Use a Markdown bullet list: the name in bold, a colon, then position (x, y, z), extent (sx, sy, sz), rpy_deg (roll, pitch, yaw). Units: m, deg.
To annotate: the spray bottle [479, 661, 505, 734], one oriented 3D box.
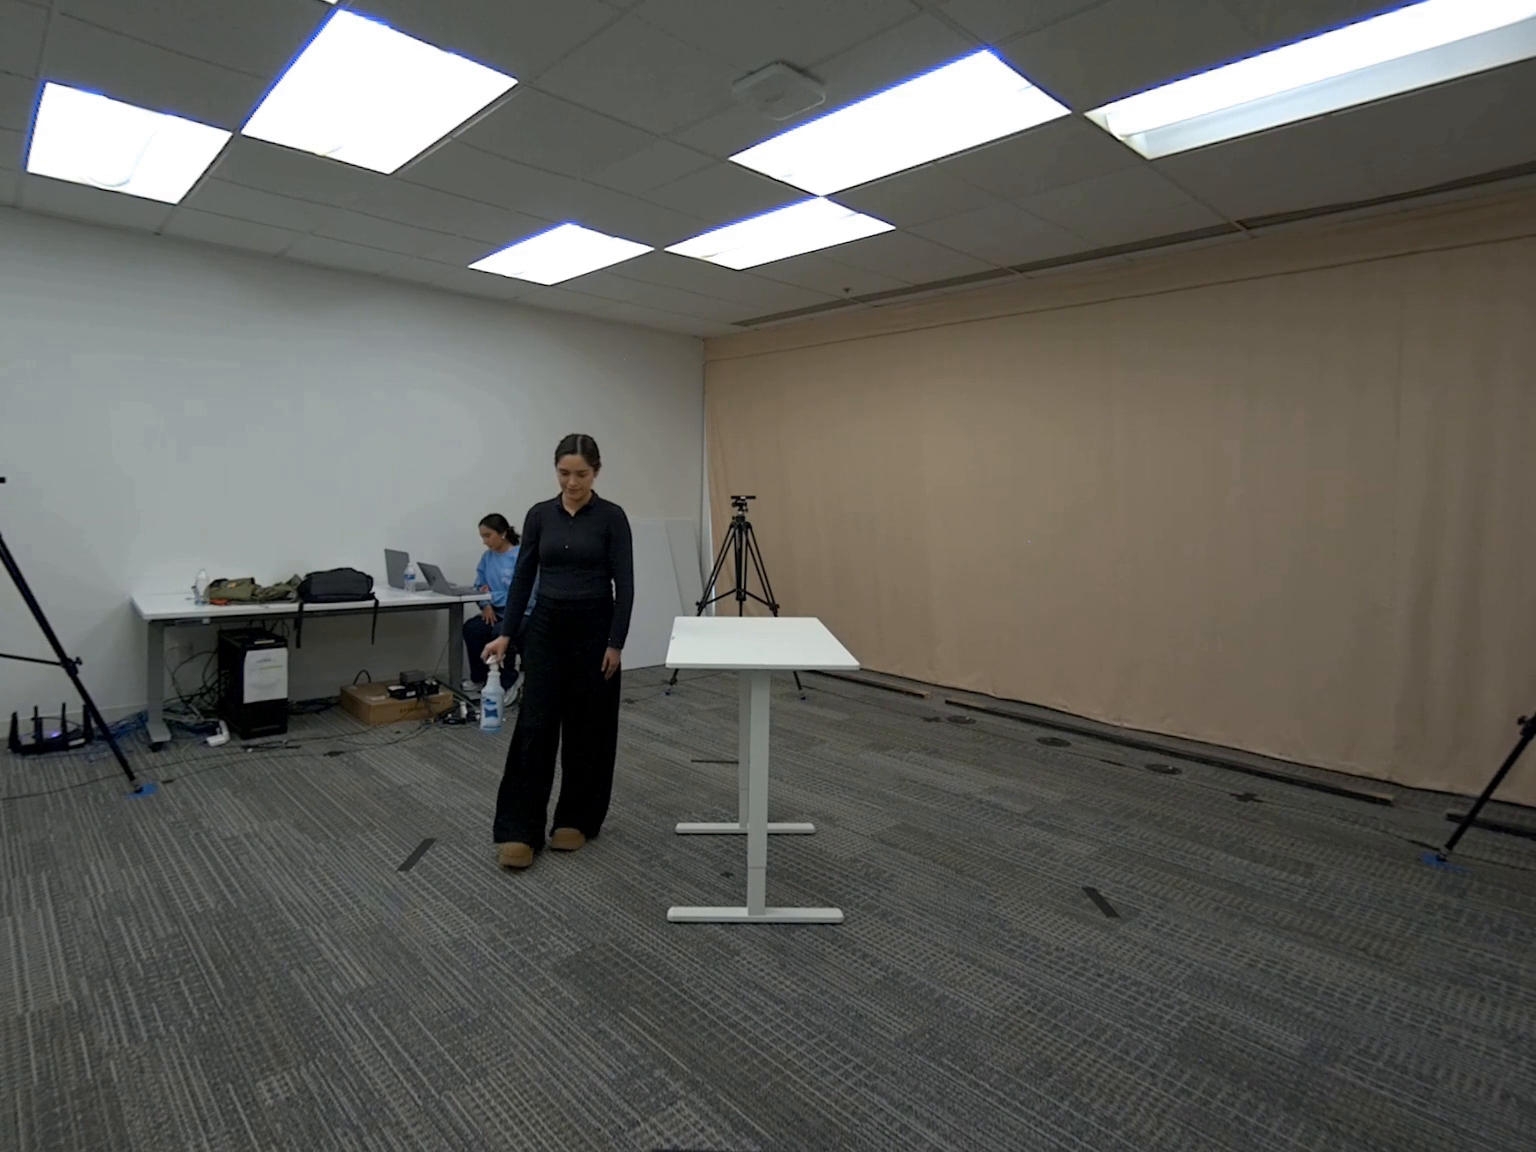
- **spray bottle**: position (-1.064, 0.457, 3.260), extent (0.088, 0.298, 0.089), rpy_deg (5, -2, -40)
